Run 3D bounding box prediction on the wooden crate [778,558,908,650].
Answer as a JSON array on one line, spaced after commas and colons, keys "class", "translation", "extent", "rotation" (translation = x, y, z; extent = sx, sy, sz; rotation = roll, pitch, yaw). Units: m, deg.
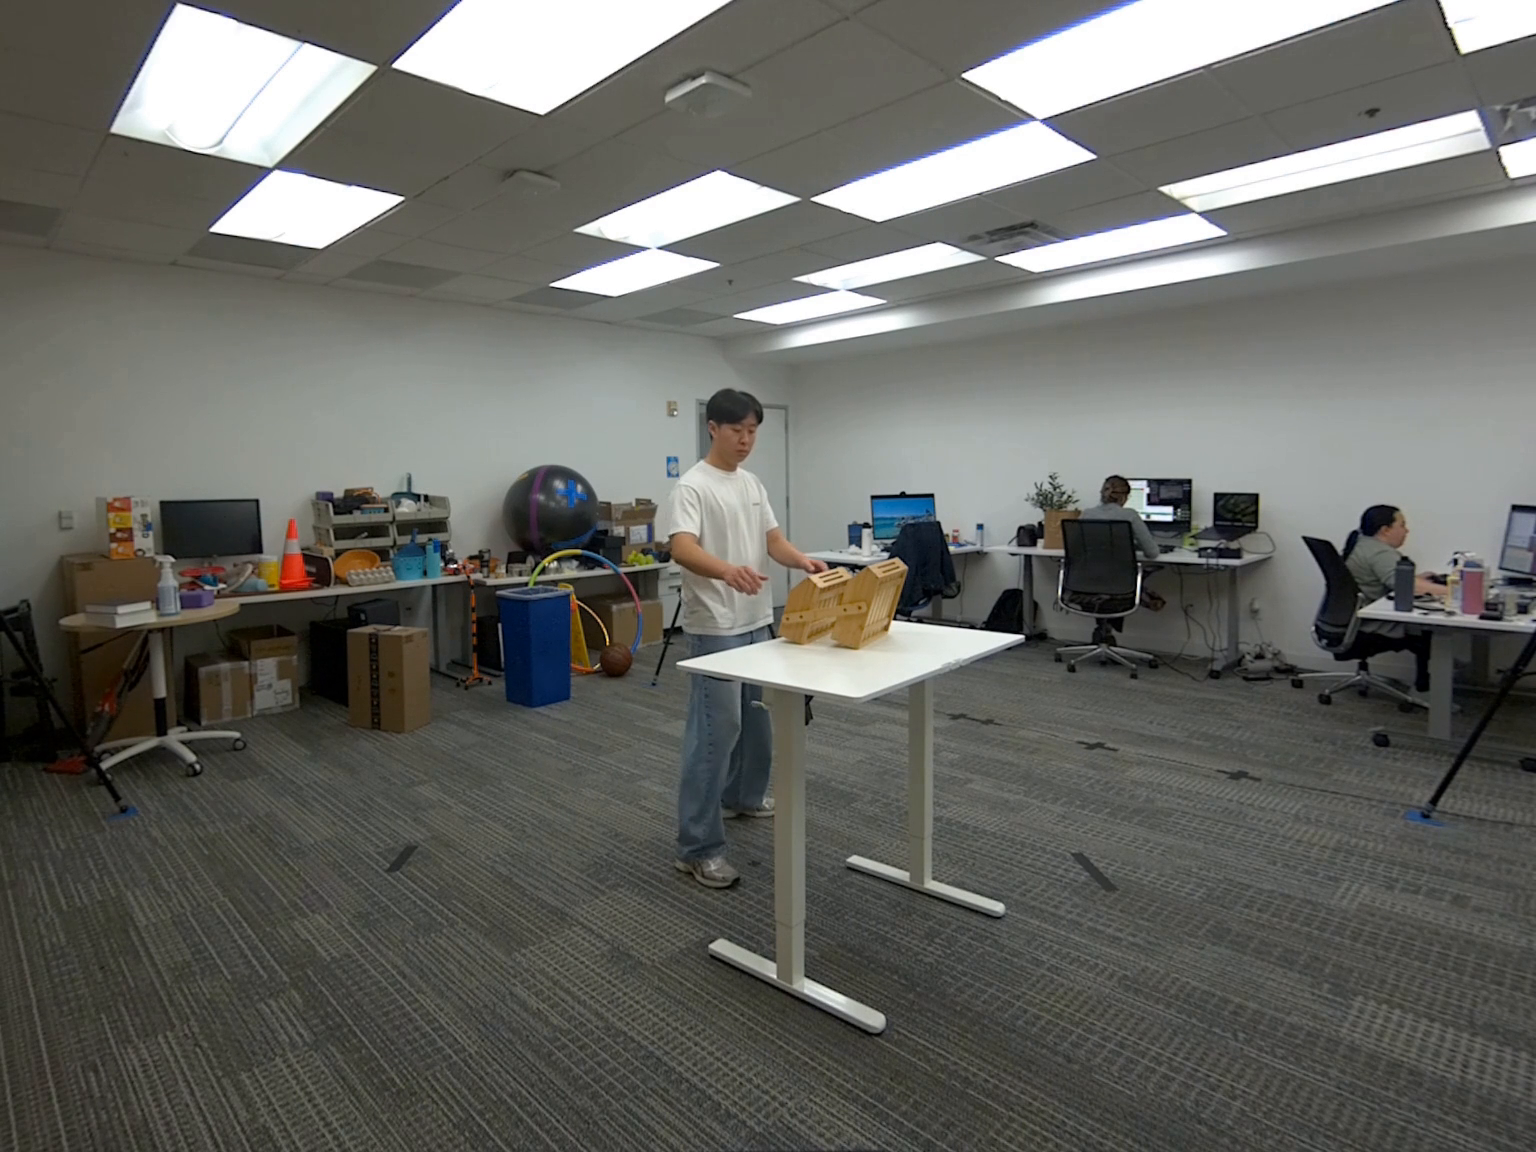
[{"class": "wooden crate", "translation": [0.242, 0.069, 2.712], "extent": [0.281, 0.300, 0.318], "rotation": [19, 13, 23]}]
